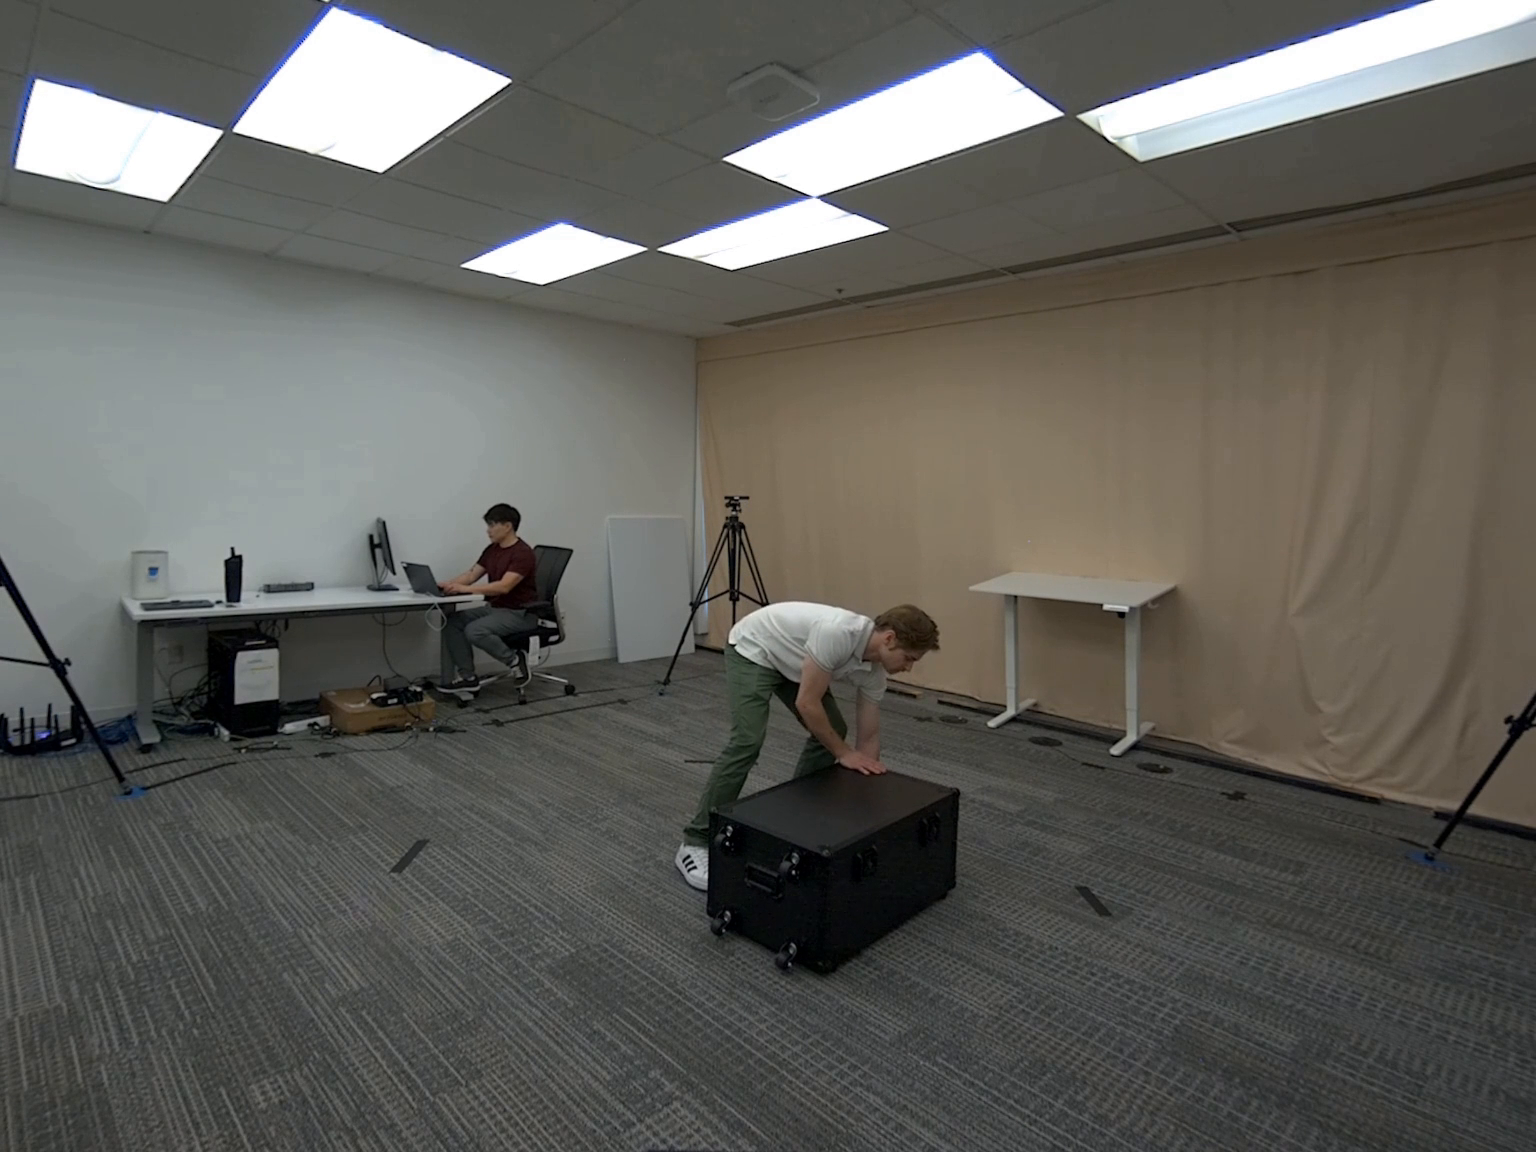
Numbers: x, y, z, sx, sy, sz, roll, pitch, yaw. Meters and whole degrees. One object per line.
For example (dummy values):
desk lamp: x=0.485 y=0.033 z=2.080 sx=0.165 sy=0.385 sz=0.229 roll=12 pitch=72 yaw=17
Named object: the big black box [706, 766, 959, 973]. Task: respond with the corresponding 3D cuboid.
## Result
big black box: x=0.203 y=0.941 z=2.839 sx=0.537 sy=0.384 sz=0.849 roll=7 pitch=8 yaw=42
